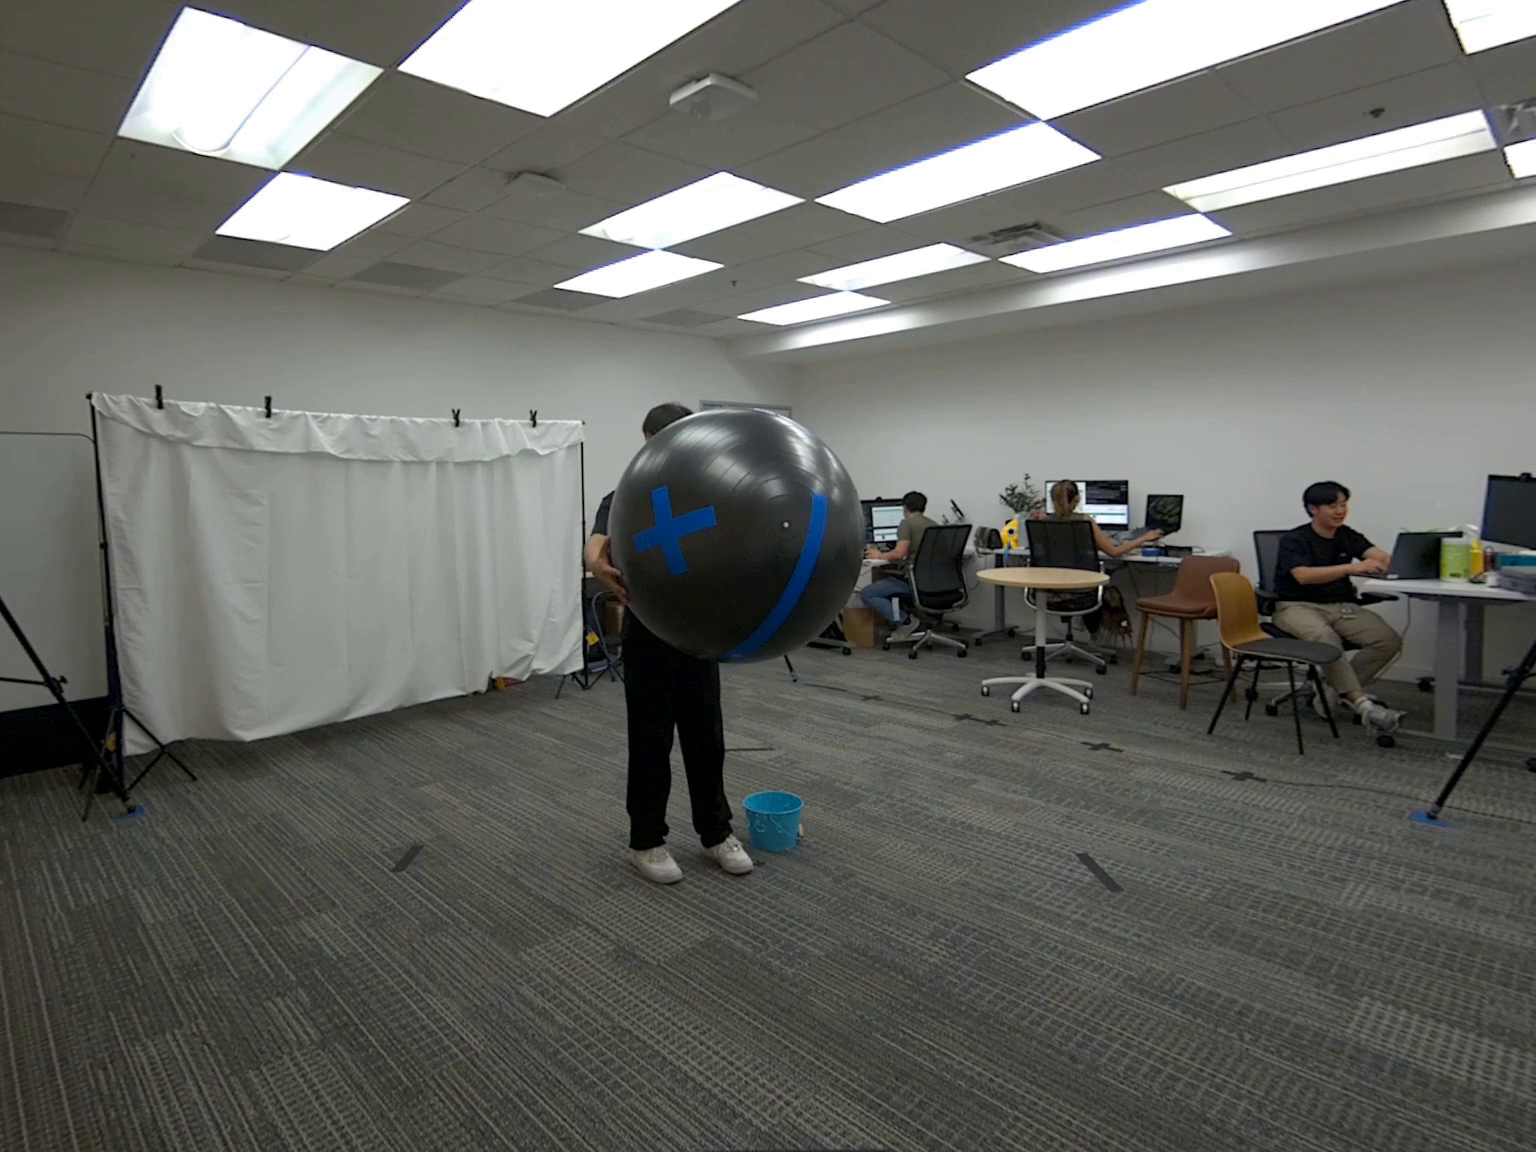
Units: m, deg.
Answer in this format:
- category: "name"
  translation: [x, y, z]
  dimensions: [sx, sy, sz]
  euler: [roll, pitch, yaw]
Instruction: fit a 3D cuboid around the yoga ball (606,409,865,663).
- category: "yoga ball"
  translation: [-0.088, -0.111, 2.536]
  dimensions: [0.757, 0.755, 0.762]
  euler: [-1, 5, -2]
